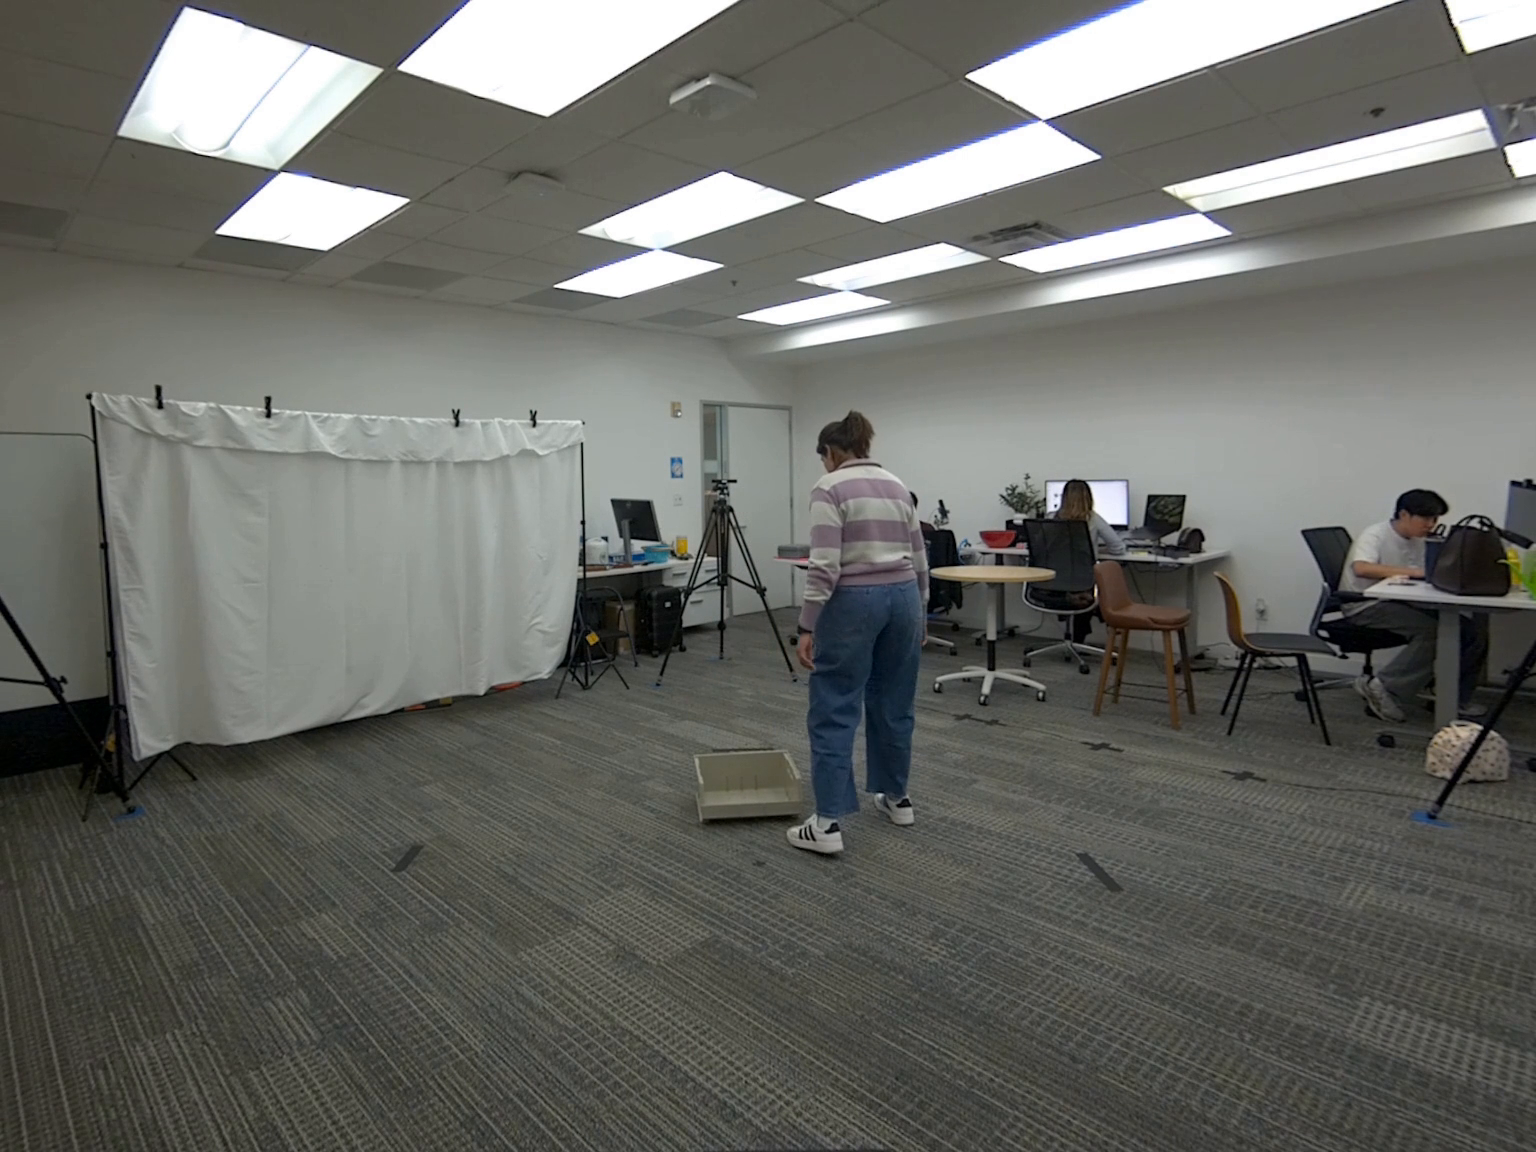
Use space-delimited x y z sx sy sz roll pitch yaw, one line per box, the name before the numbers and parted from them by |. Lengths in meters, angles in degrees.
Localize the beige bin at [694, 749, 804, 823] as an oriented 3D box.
beige bin | -0.091 0.903 3.641 0.420 0.188 0.381 -2 5 -7
